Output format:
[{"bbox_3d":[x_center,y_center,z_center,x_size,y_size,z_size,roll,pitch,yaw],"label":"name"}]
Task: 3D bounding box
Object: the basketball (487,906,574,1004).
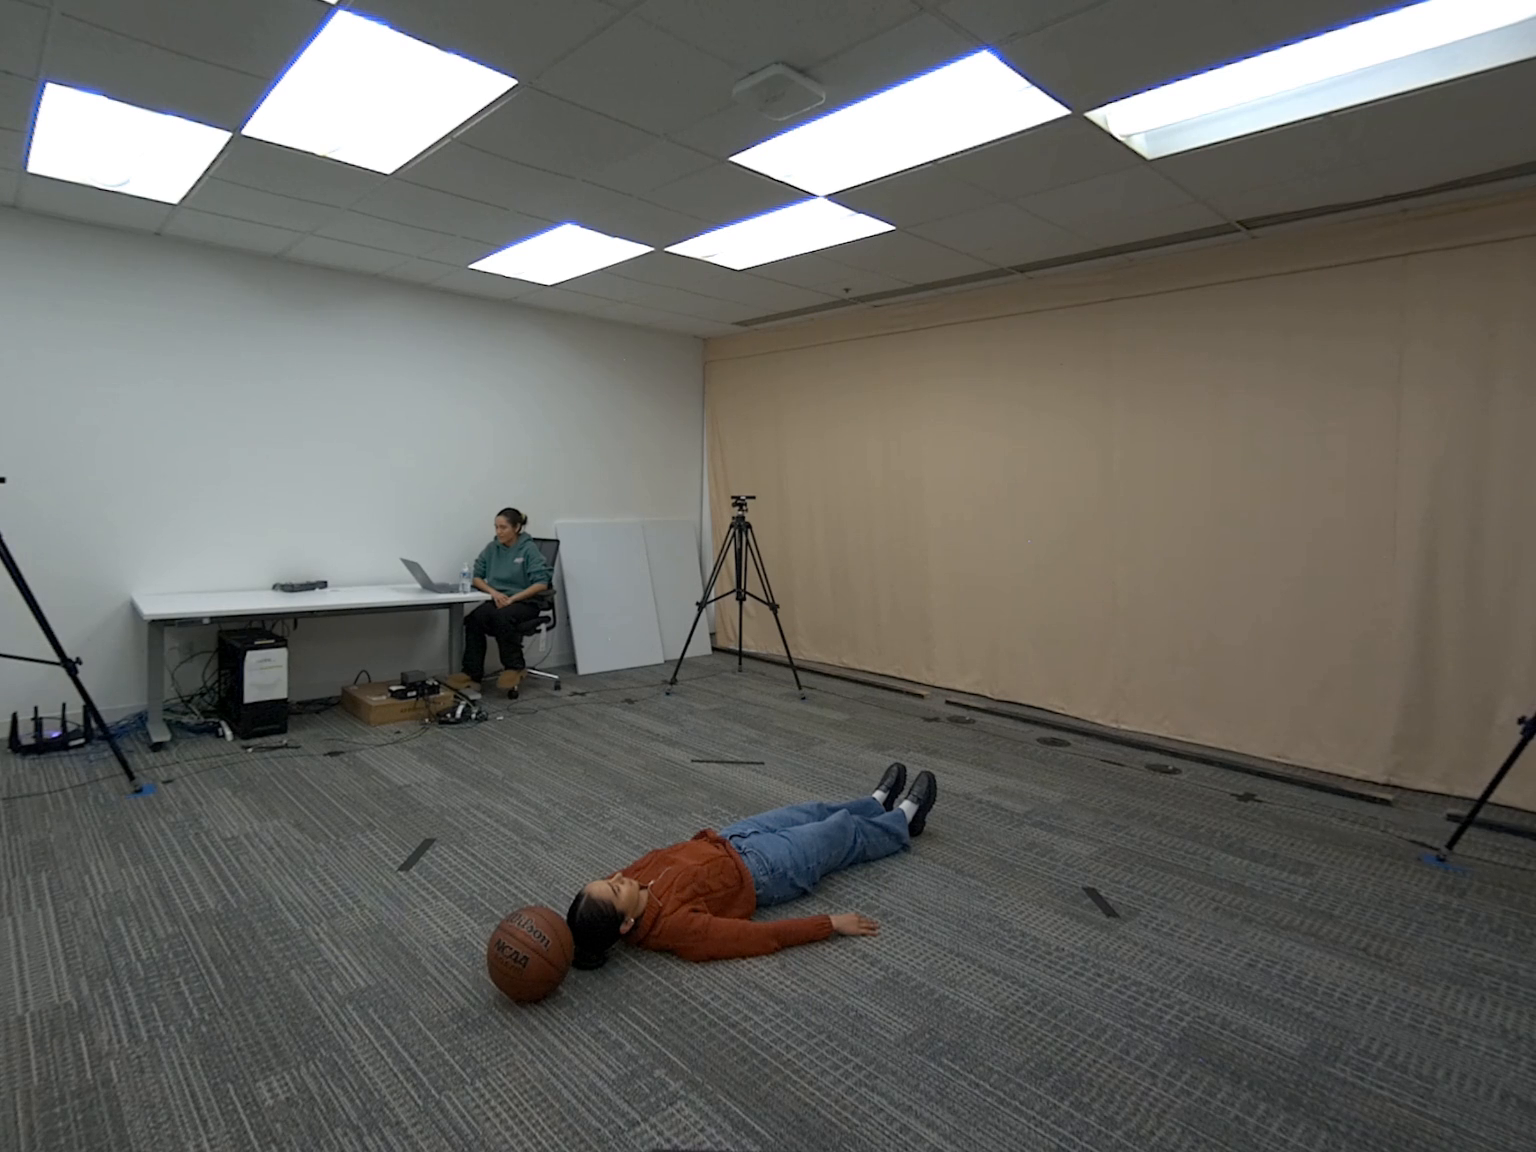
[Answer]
[{"bbox_3d":[-0.660,1.045,2.335,0.236,0.234,0.237,0,8,-1],"label":"basketball"}]
